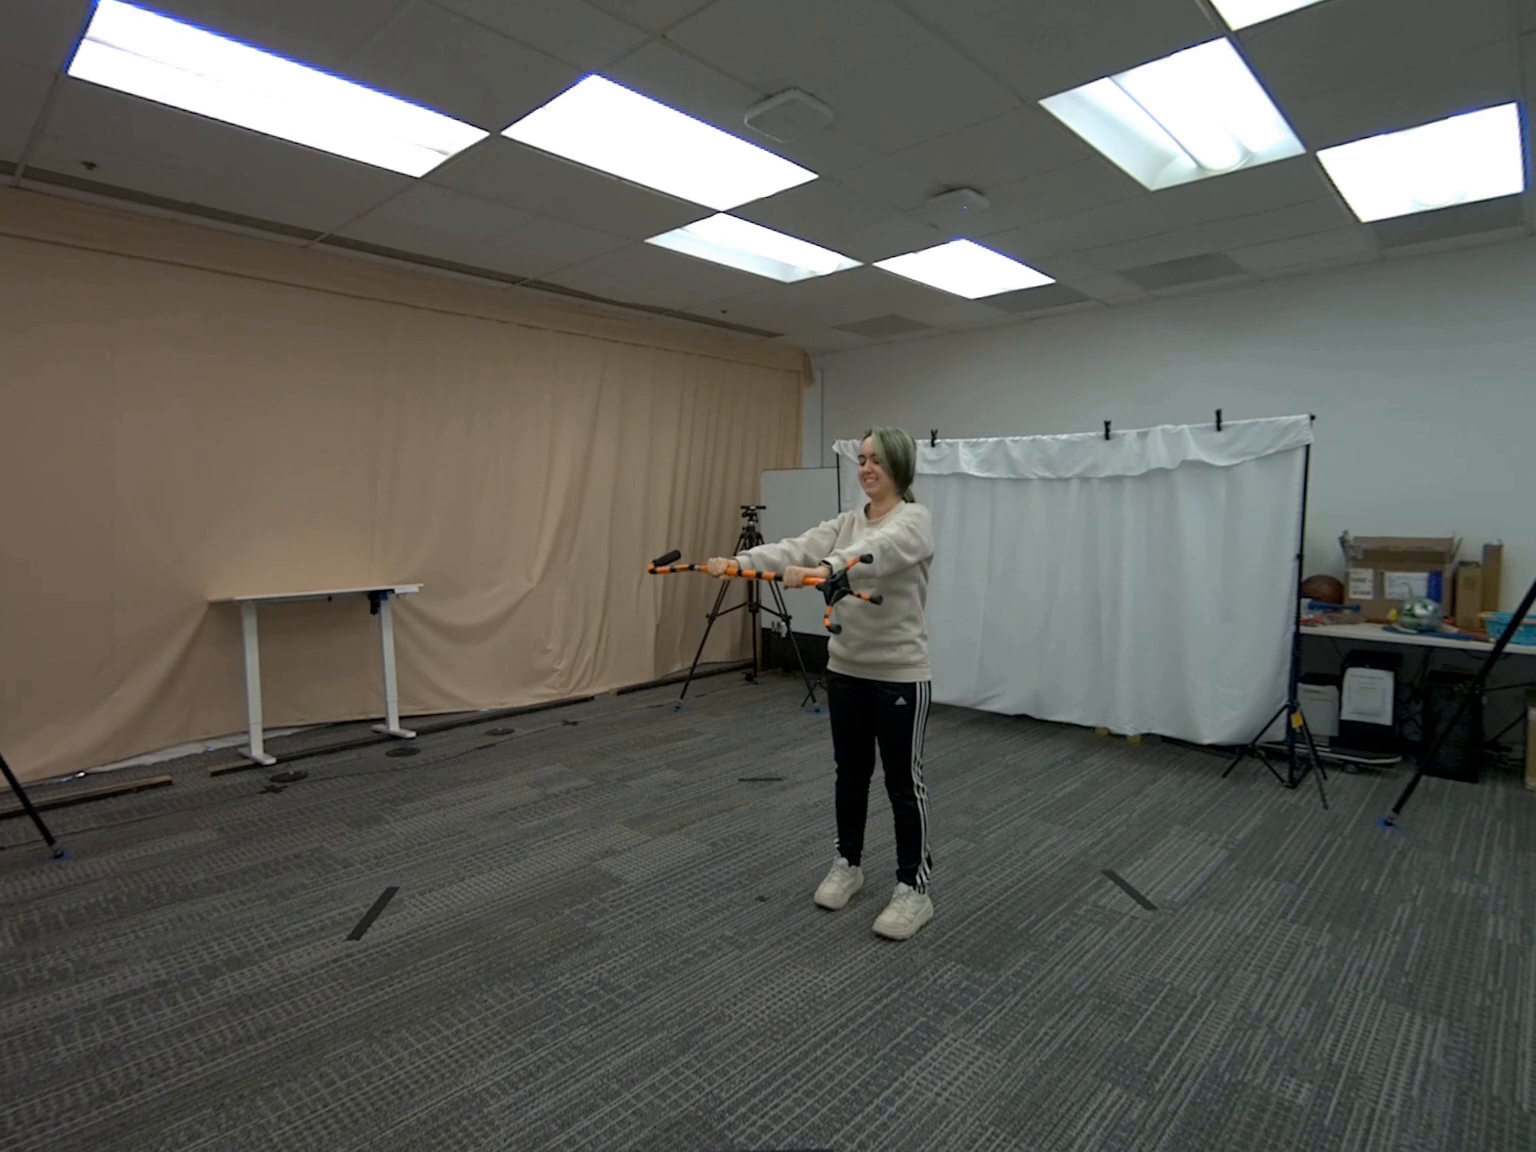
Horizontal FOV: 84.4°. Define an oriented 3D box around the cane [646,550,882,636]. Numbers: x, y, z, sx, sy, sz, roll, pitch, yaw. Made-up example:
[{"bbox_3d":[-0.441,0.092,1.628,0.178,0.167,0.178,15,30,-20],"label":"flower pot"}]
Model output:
[{"bbox_3d":[-0.084,-0.002,2.554,0.203,0.149,0.938,-33,24,-33],"label":"cane"}]
